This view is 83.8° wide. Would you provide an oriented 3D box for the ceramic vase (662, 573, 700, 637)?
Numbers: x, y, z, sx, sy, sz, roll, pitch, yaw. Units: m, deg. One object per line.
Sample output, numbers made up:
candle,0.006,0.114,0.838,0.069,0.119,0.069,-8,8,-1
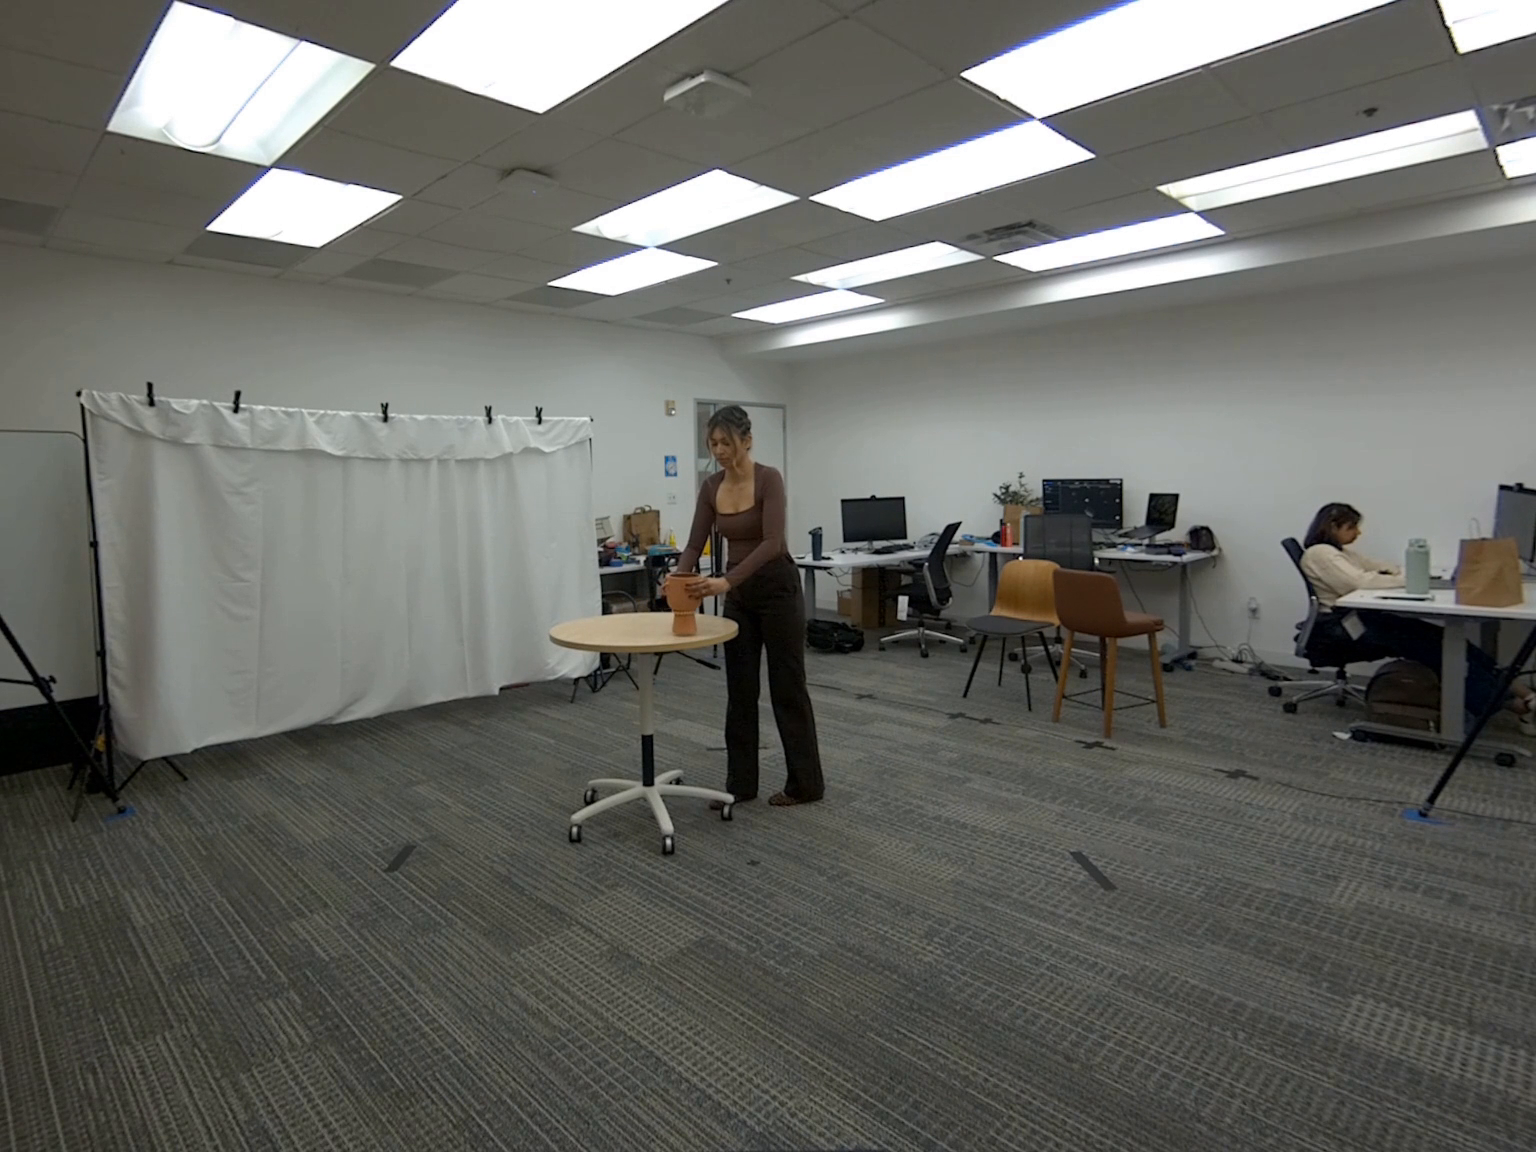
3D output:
ceramic vase,-0.323,0.107,3.291,0.161,0.218,0.133,4,7,13
